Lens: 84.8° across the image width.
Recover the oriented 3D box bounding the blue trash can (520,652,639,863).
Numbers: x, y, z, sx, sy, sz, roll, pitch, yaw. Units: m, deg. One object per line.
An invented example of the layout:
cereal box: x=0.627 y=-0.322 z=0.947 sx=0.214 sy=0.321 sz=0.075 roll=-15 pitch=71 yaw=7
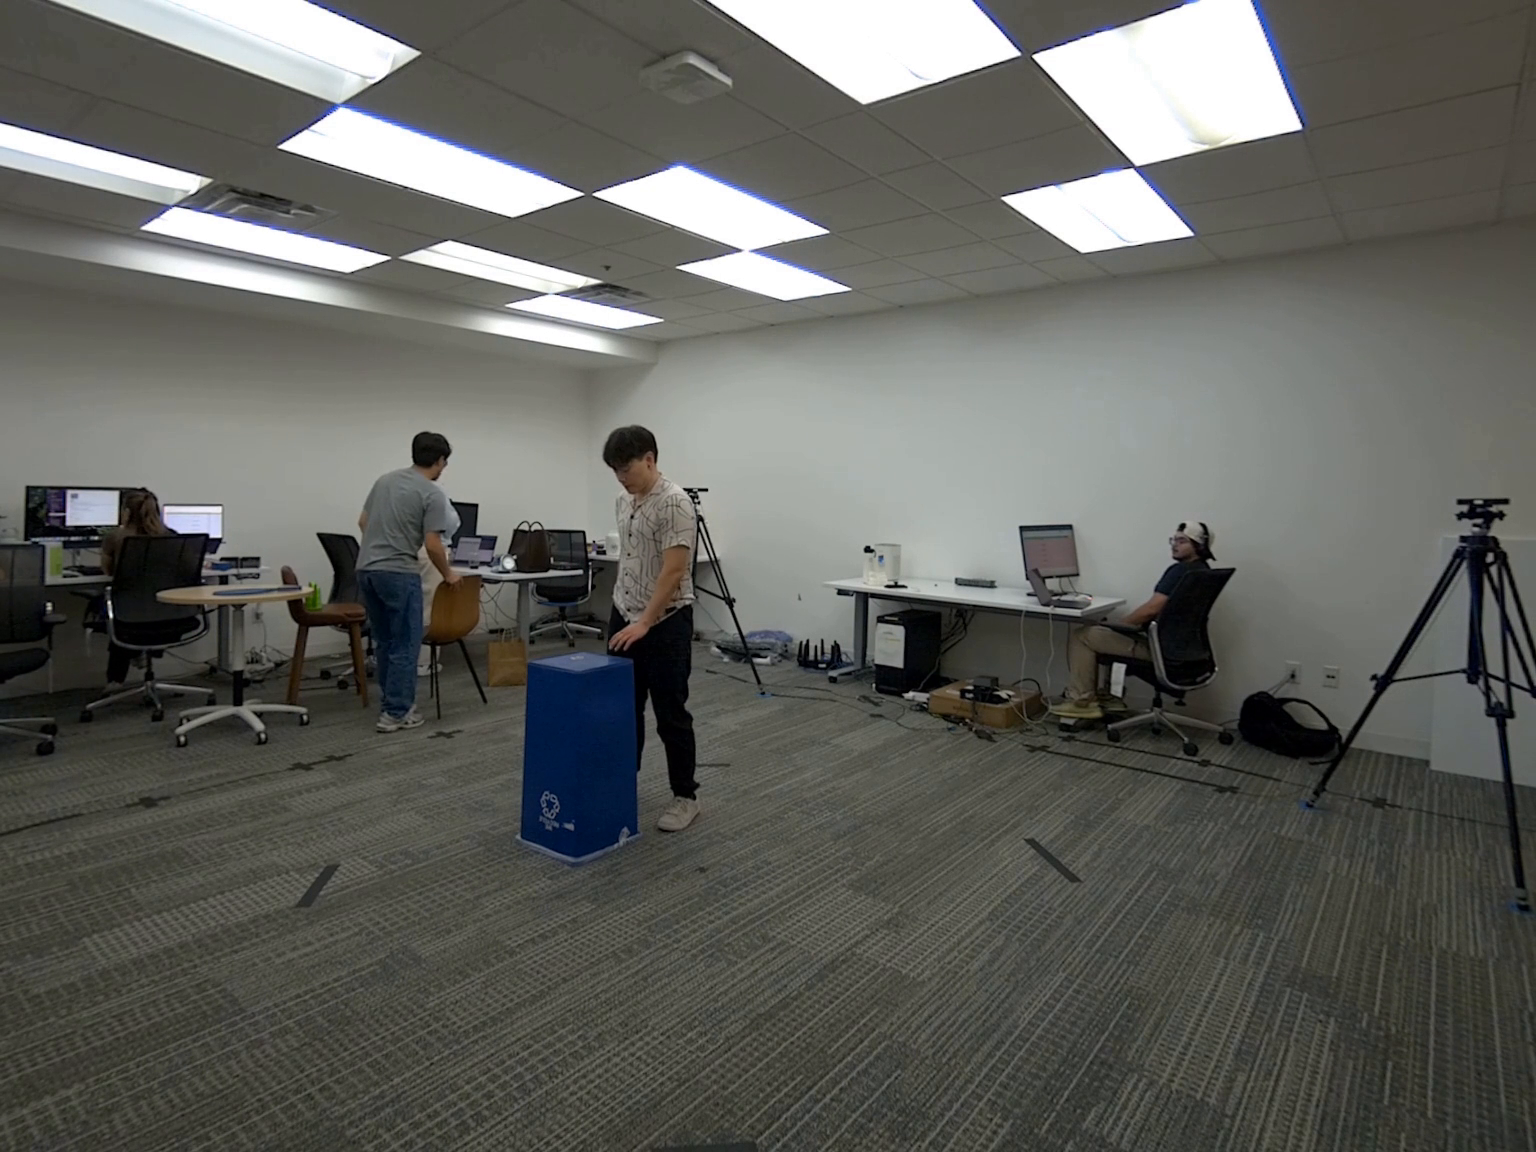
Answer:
blue trash can: x=-0.755 y=0.683 z=3.350 sx=0.386 sy=0.712 sz=0.367 roll=2 pitch=3 yaw=37
